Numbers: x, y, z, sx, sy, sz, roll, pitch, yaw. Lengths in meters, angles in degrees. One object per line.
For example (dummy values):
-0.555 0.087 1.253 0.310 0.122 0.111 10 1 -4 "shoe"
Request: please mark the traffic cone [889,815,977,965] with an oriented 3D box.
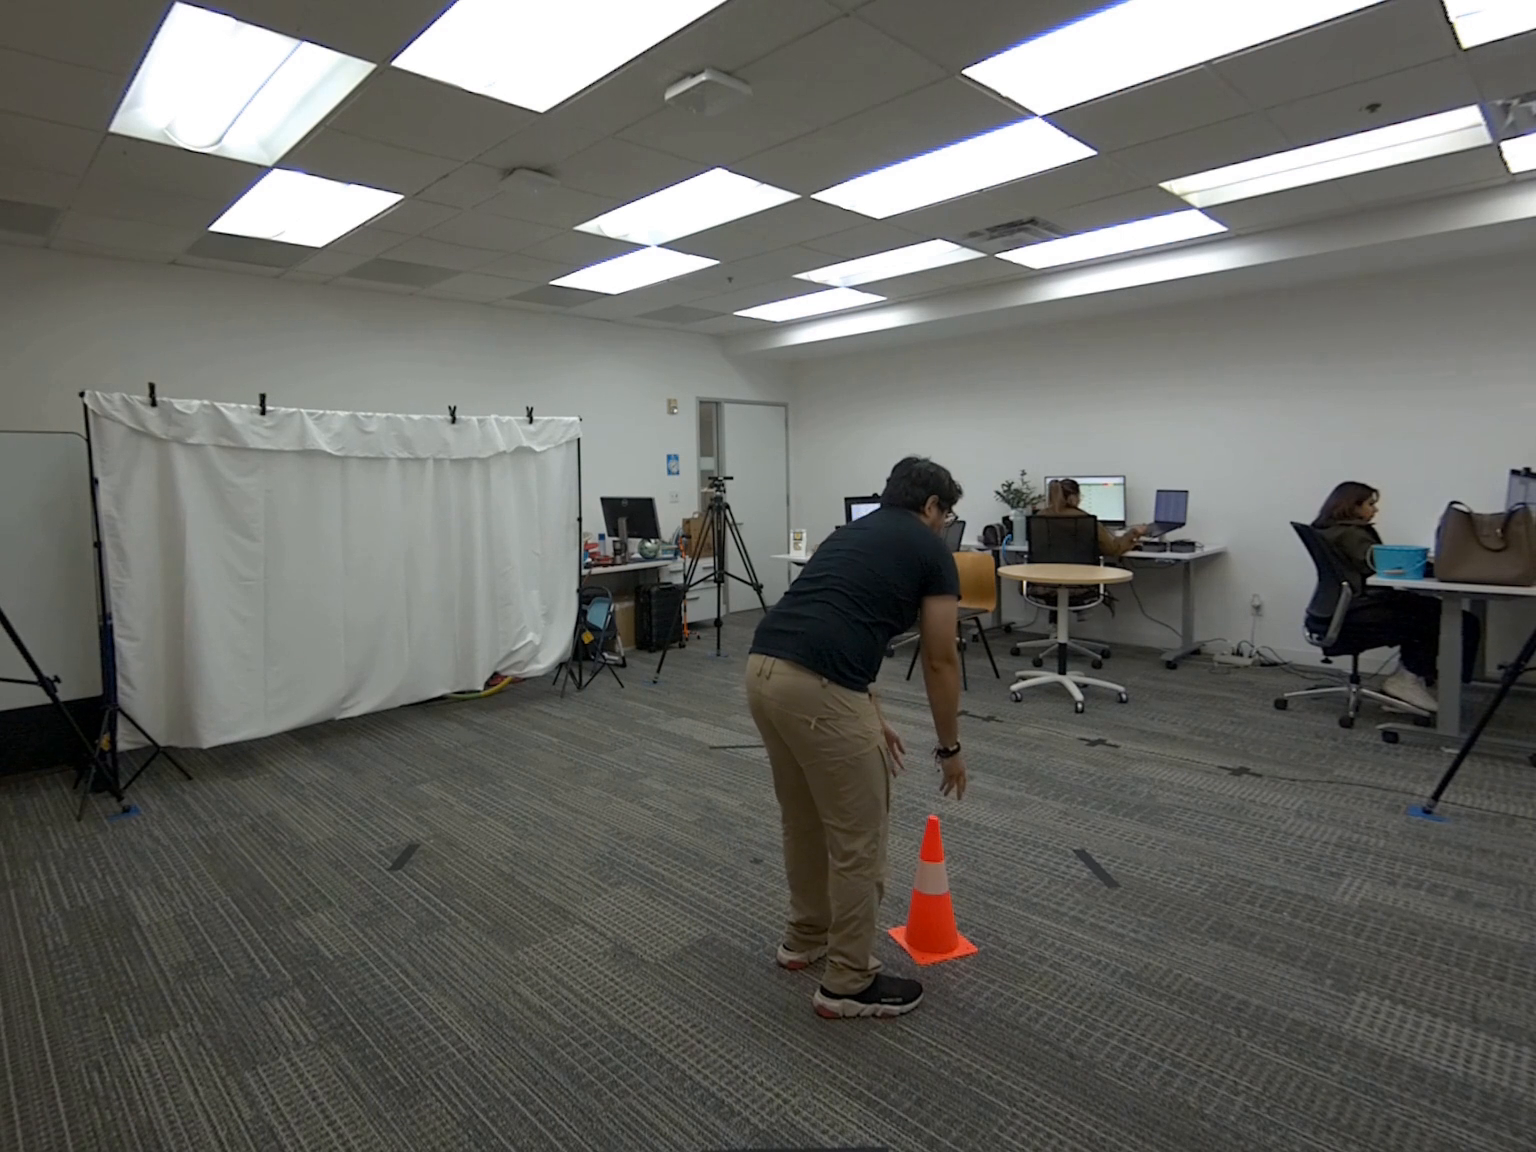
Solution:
0.490 0.910 2.536 0.202 0.382 0.207 -4 5 -19 "traffic cone"
